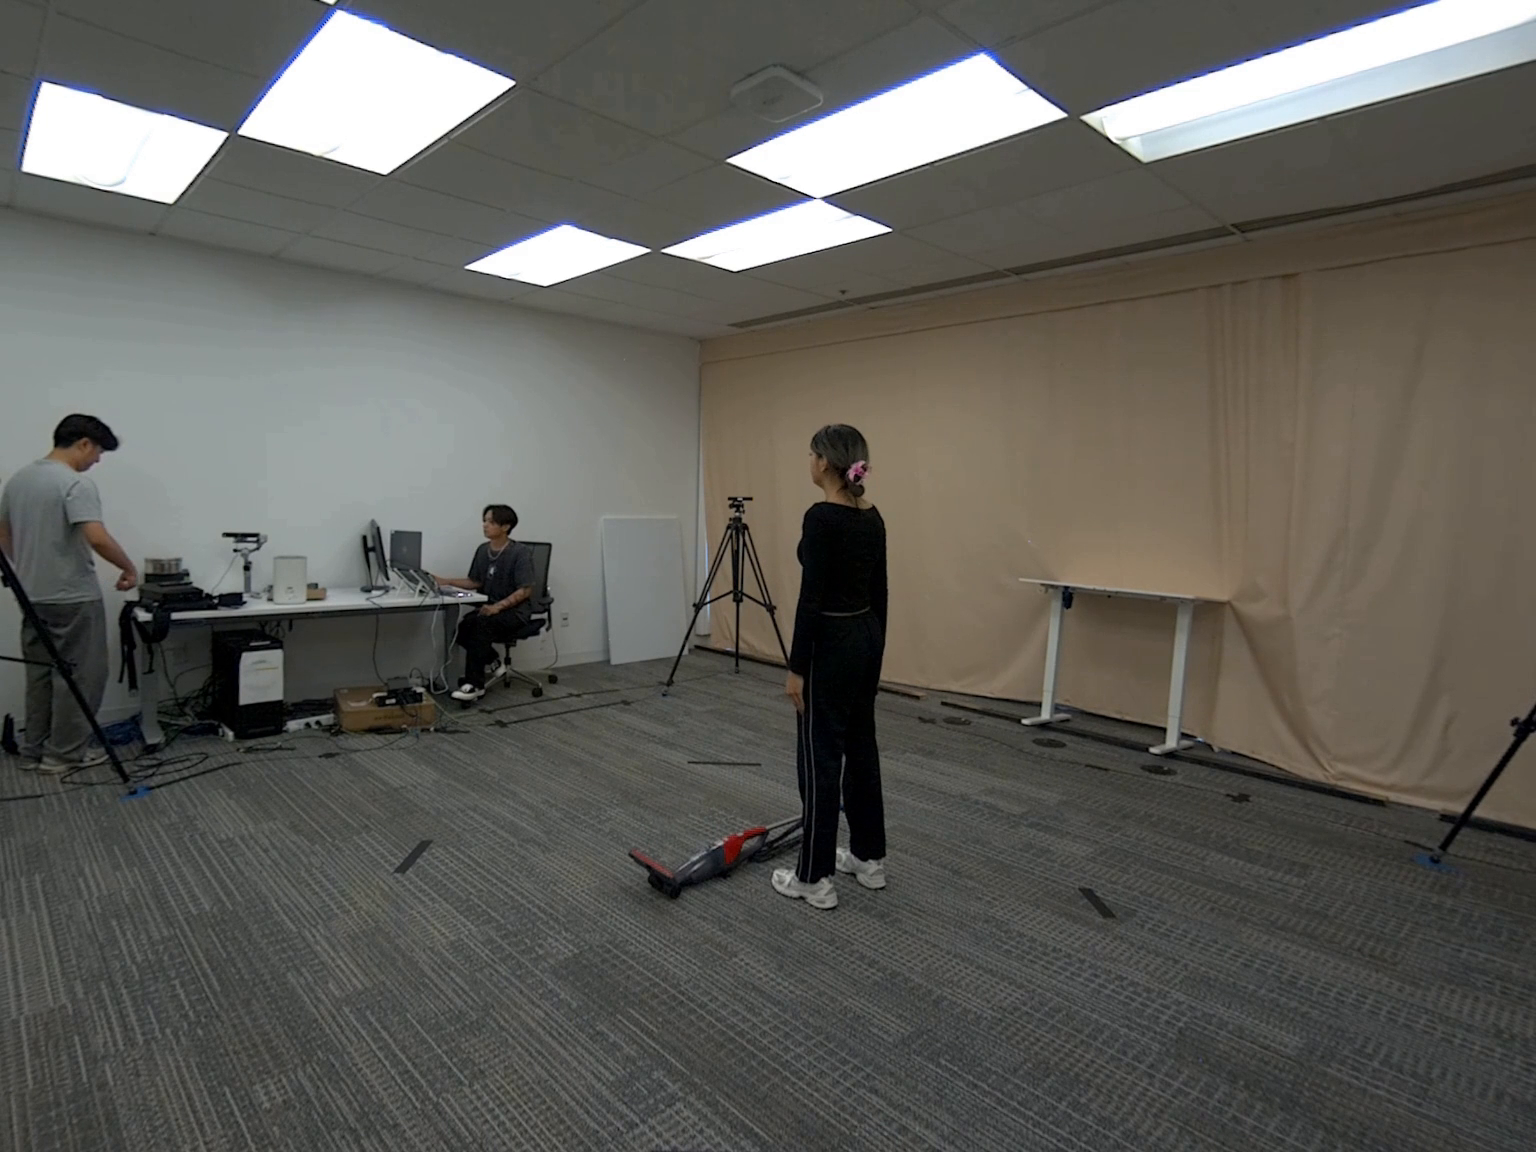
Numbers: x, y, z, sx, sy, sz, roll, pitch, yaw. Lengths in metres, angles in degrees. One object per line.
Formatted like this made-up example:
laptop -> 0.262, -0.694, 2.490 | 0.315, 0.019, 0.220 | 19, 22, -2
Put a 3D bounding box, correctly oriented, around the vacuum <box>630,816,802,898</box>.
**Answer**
vacuum -> -0.024, 1.034, 3.280 | 1.025, 0.143, 0.260 | -2, 11, -43
